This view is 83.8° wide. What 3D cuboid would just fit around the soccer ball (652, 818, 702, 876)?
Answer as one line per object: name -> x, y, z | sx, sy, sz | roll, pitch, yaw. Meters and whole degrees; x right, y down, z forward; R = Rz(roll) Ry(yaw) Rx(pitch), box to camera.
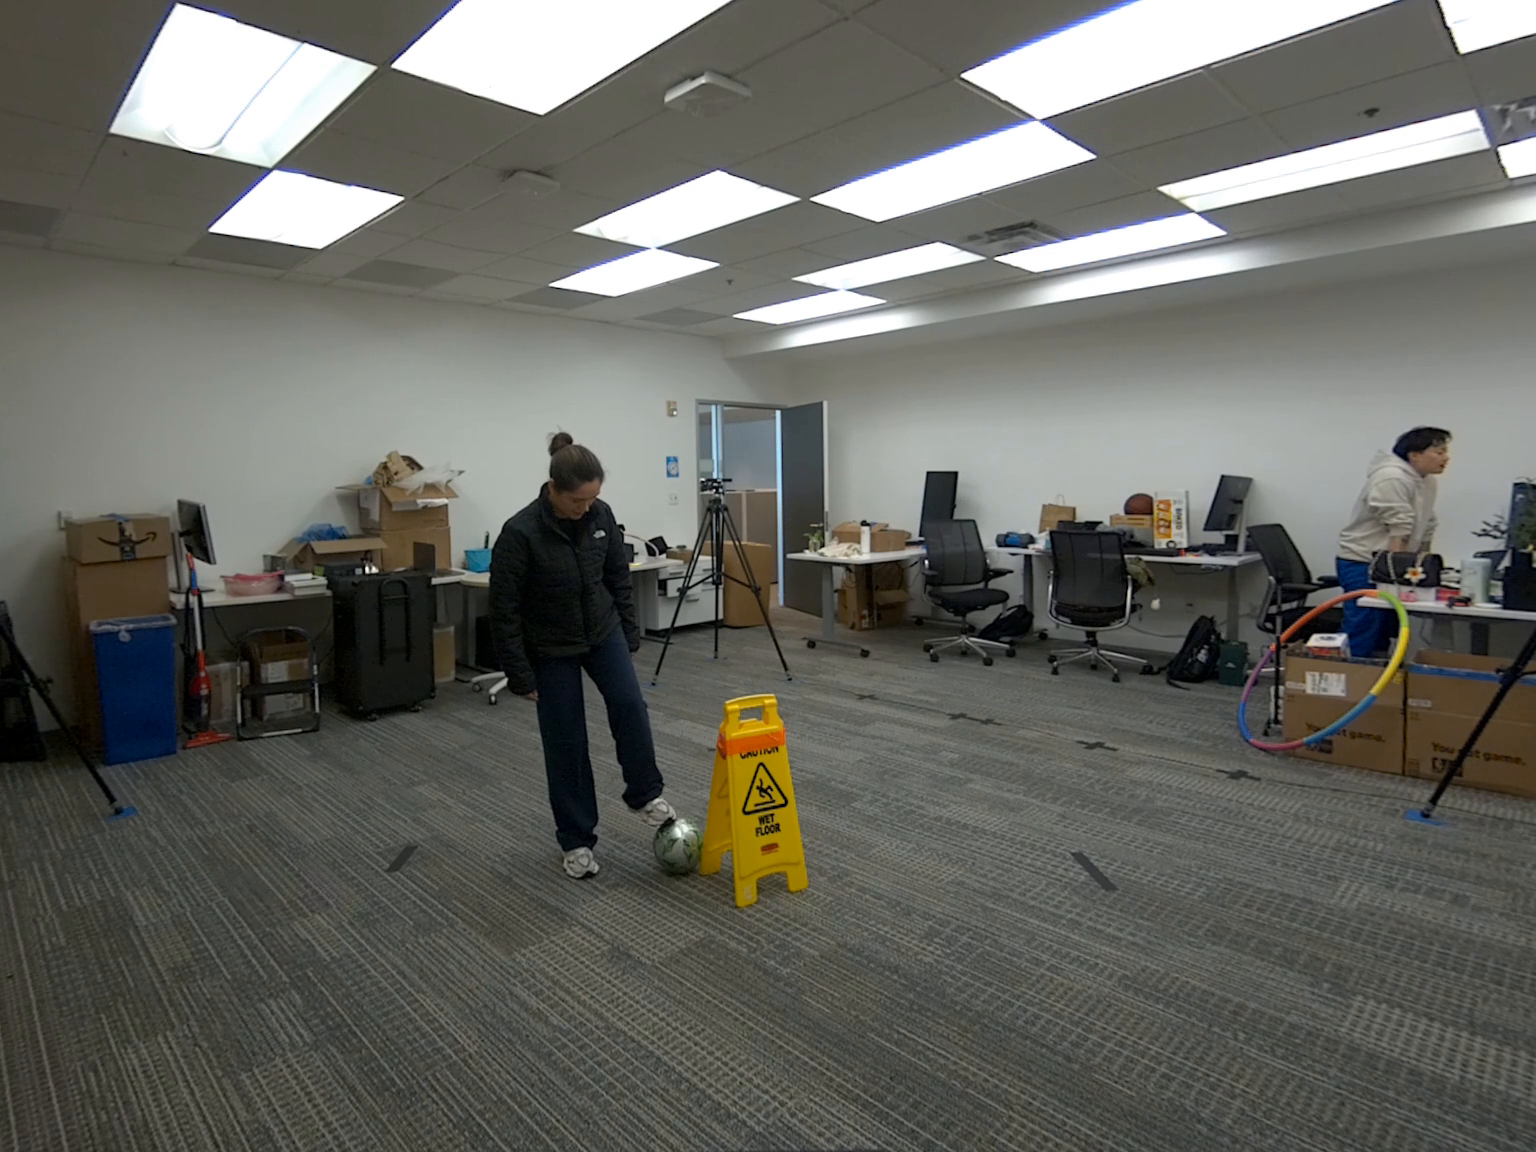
soccer ball -> -0.315, 0.952, 3.041 | 0.187, 0.187, 0.188 | -1, 5, -2
